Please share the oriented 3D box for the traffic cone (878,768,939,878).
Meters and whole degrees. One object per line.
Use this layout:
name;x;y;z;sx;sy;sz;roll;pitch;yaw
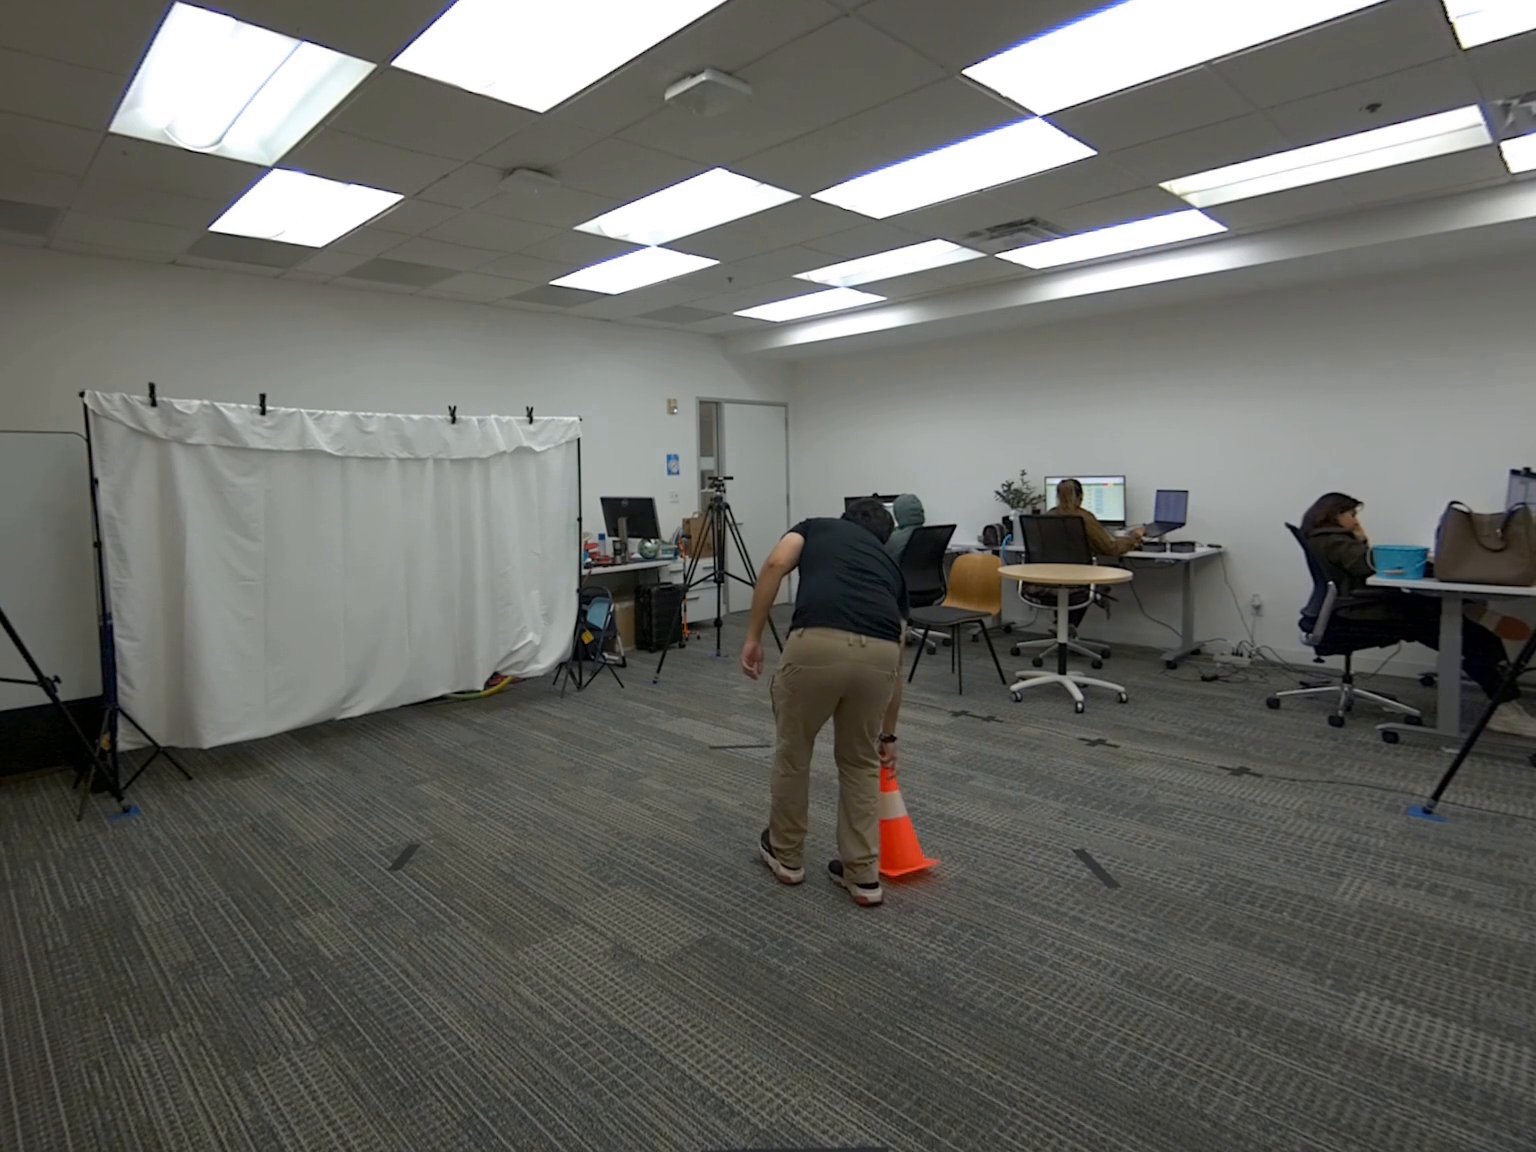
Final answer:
traffic cone;0.445;0.835;3.033;0.200;0.387;0.206;-7;-8;-17
